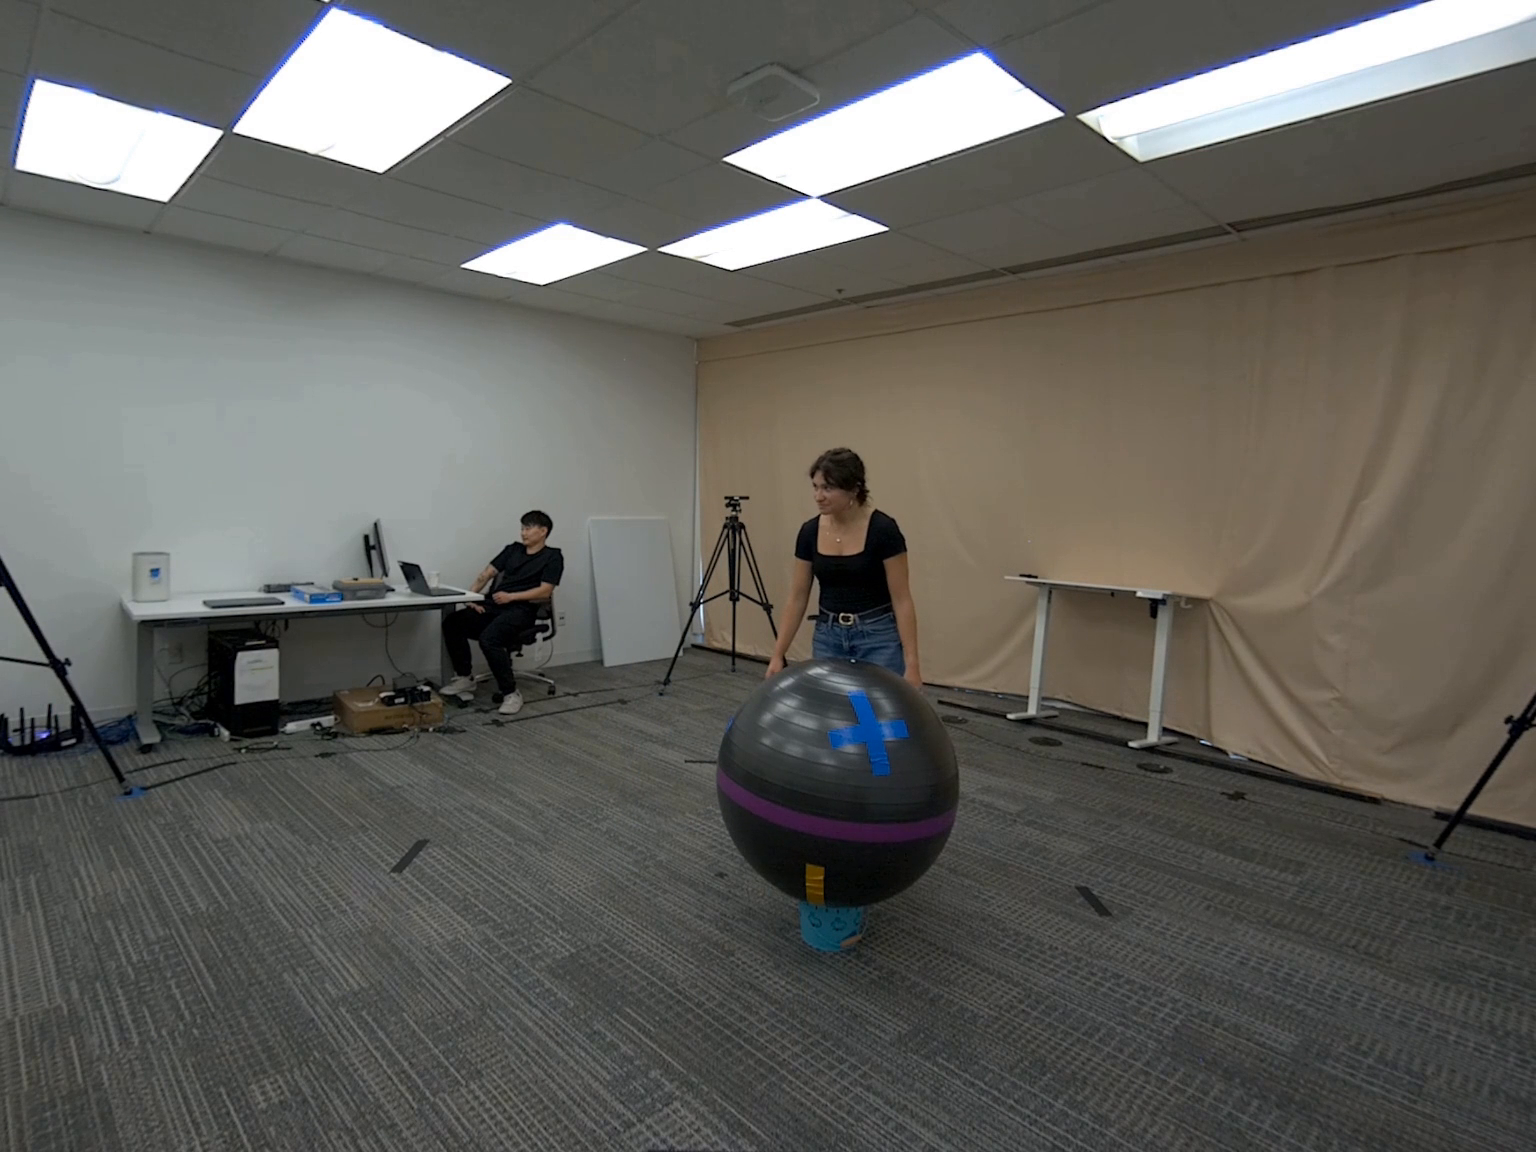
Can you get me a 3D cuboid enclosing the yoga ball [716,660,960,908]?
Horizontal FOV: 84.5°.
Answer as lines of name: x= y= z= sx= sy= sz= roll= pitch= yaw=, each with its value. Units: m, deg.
yoga ball: x=0.215 y=0.646 z=2.655 sx=0.757 sy=0.756 sz=0.761 roll=1 pitch=4 yaw=-1
